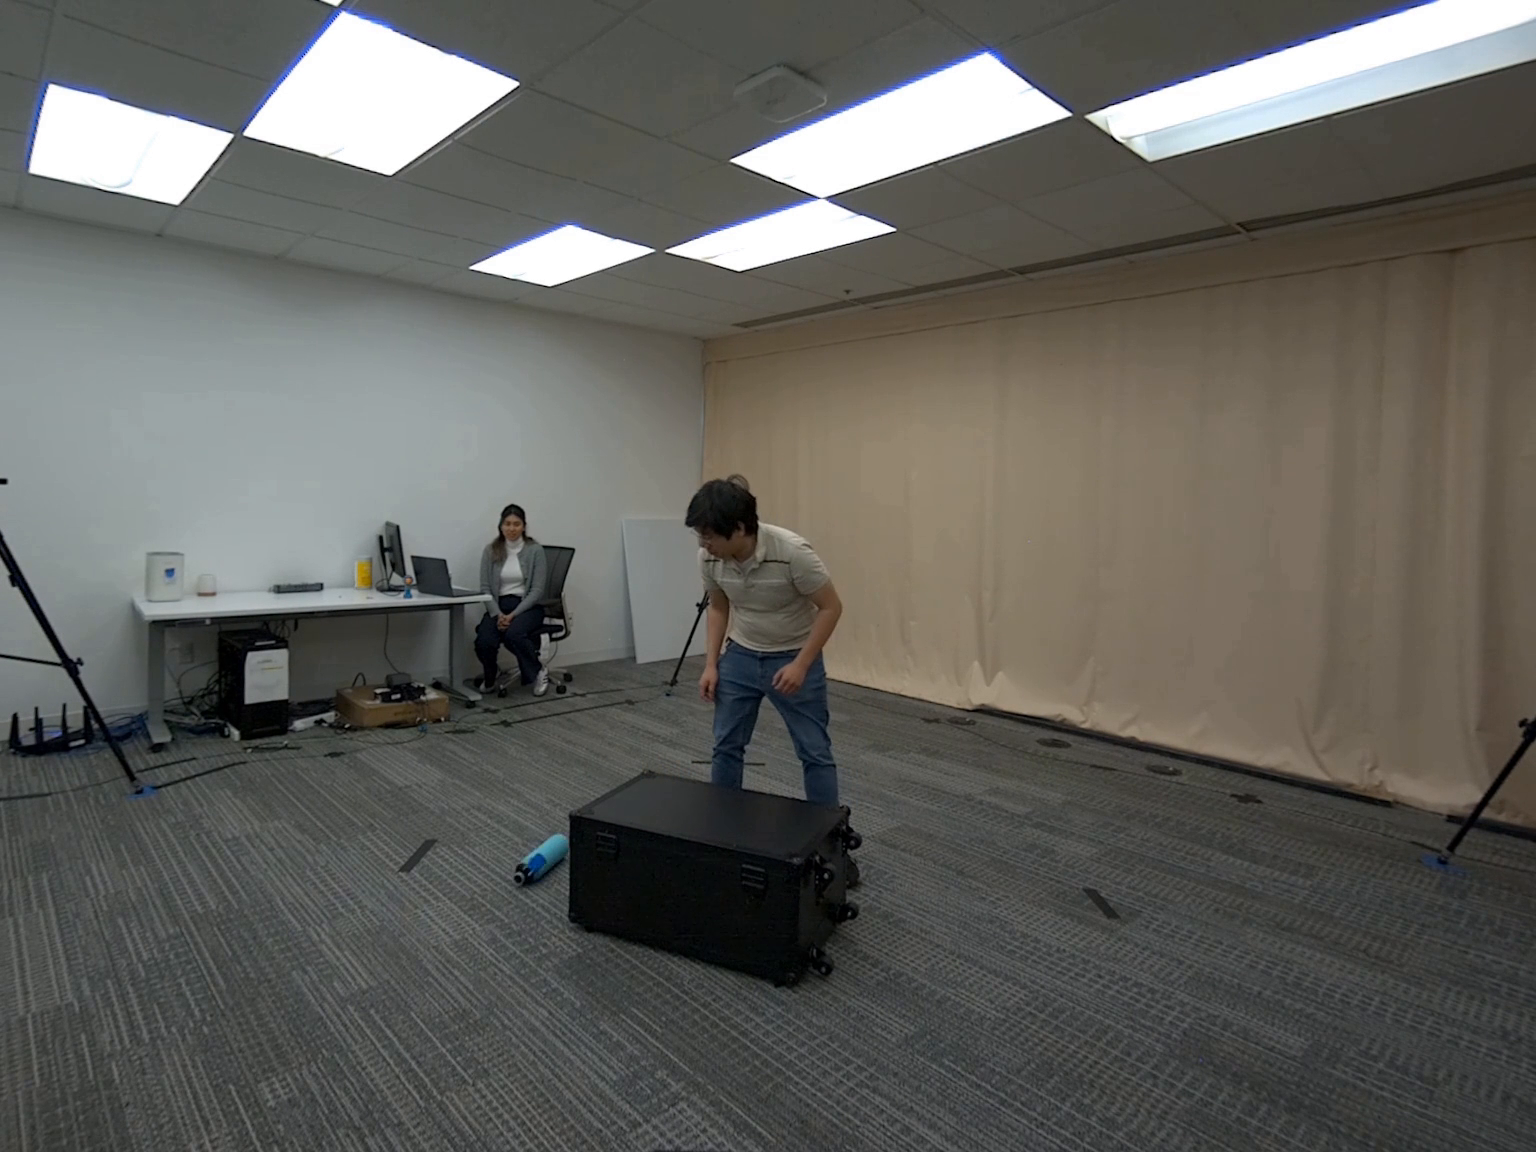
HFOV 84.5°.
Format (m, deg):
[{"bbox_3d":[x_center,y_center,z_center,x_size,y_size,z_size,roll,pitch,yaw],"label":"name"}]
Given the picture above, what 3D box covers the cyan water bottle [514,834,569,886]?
[{"bbox_3d":[-0.833,1.041,3.098,0.093,0.092,0.281,2,8,16],"label":"cyan water bottle"}]
